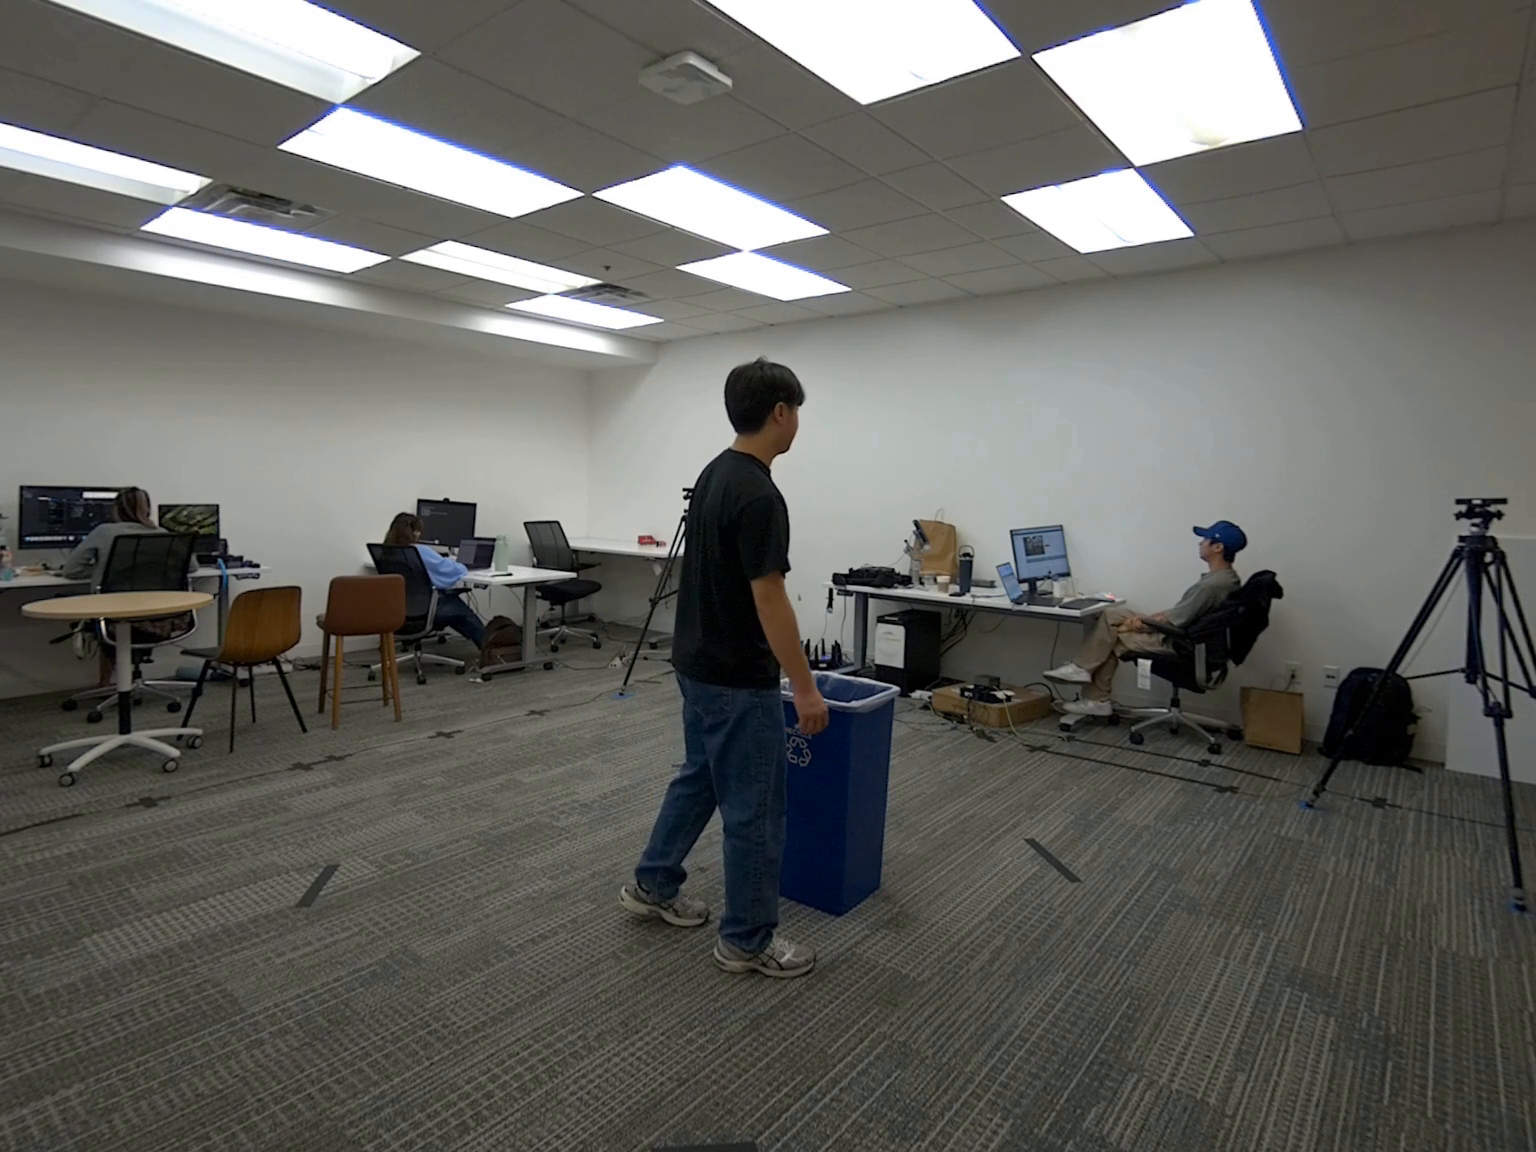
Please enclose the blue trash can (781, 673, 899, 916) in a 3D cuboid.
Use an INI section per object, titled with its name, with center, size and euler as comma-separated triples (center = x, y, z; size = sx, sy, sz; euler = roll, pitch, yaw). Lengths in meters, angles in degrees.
[blue trash can]
center = 0.210, 0.734, 2.970
size = 0.386, 0.711, 0.367
euler = 4, 4, 34
